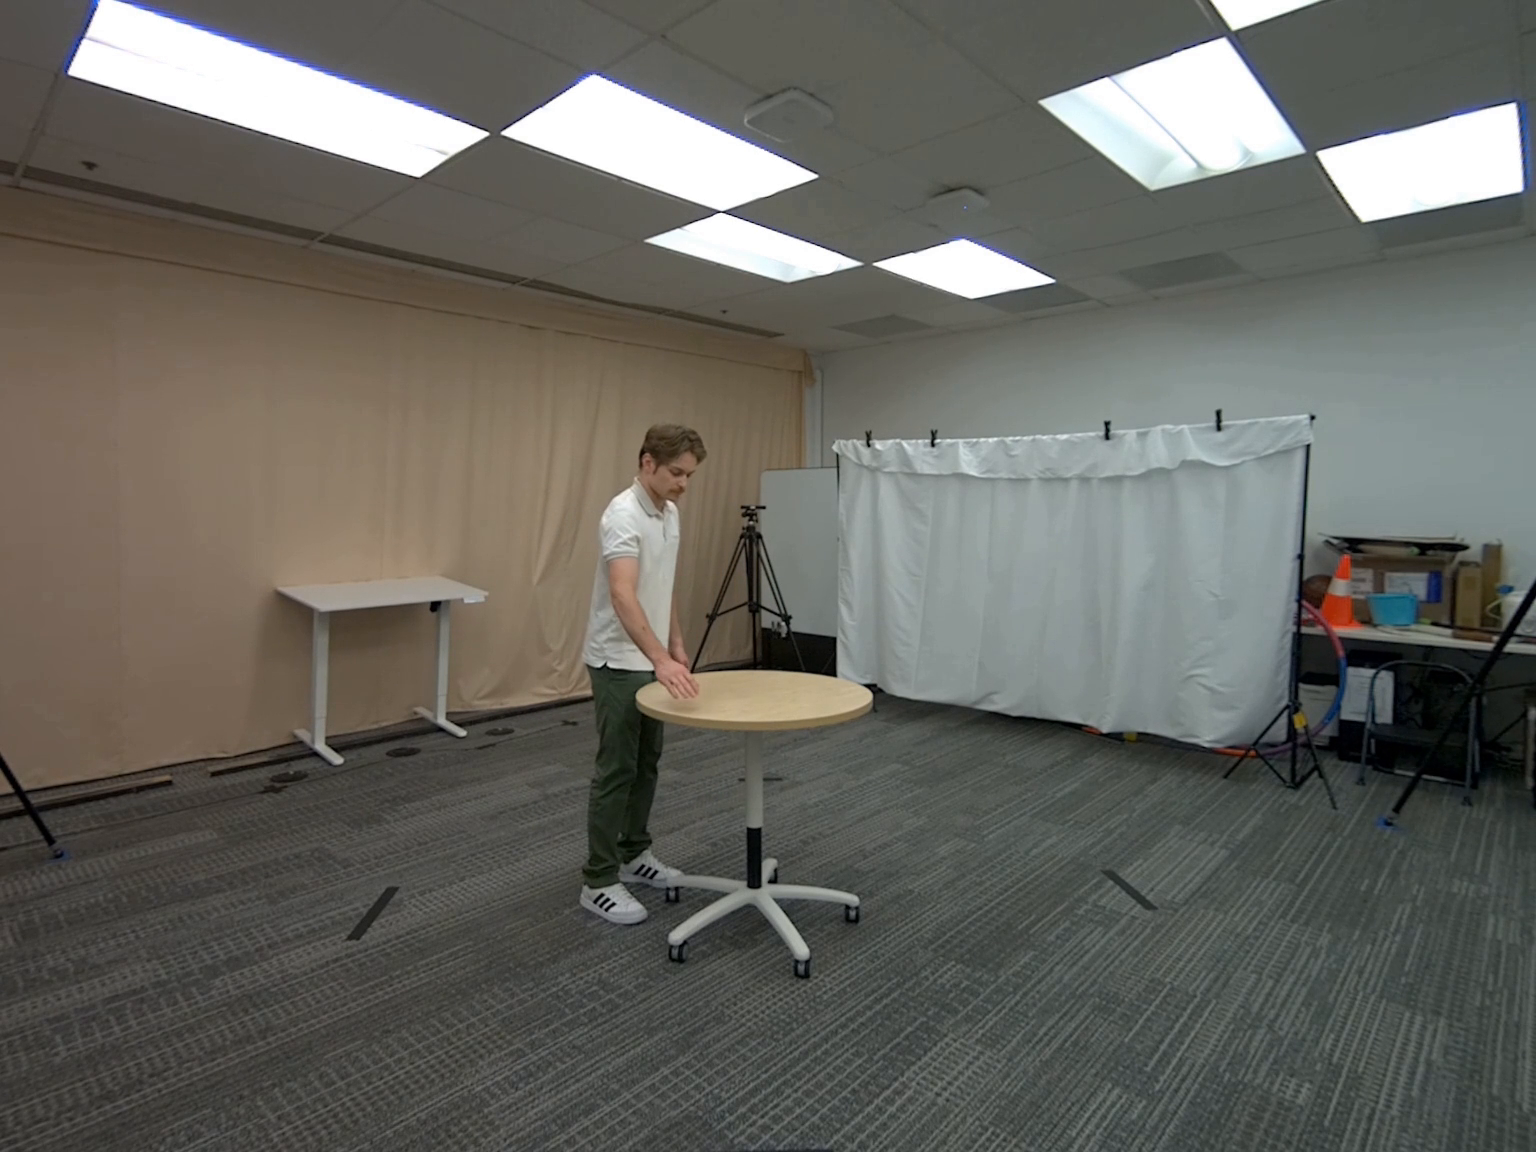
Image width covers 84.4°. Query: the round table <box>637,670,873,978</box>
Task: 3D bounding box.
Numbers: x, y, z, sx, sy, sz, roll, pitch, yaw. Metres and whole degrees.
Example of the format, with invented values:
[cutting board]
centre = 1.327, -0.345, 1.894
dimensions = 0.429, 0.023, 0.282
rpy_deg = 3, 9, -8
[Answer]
[round table]
centre = -0.034, 0.768, 2.746
dimensions = 0.784, 0.785, 0.787
rpy_deg = -1, 3, -2
